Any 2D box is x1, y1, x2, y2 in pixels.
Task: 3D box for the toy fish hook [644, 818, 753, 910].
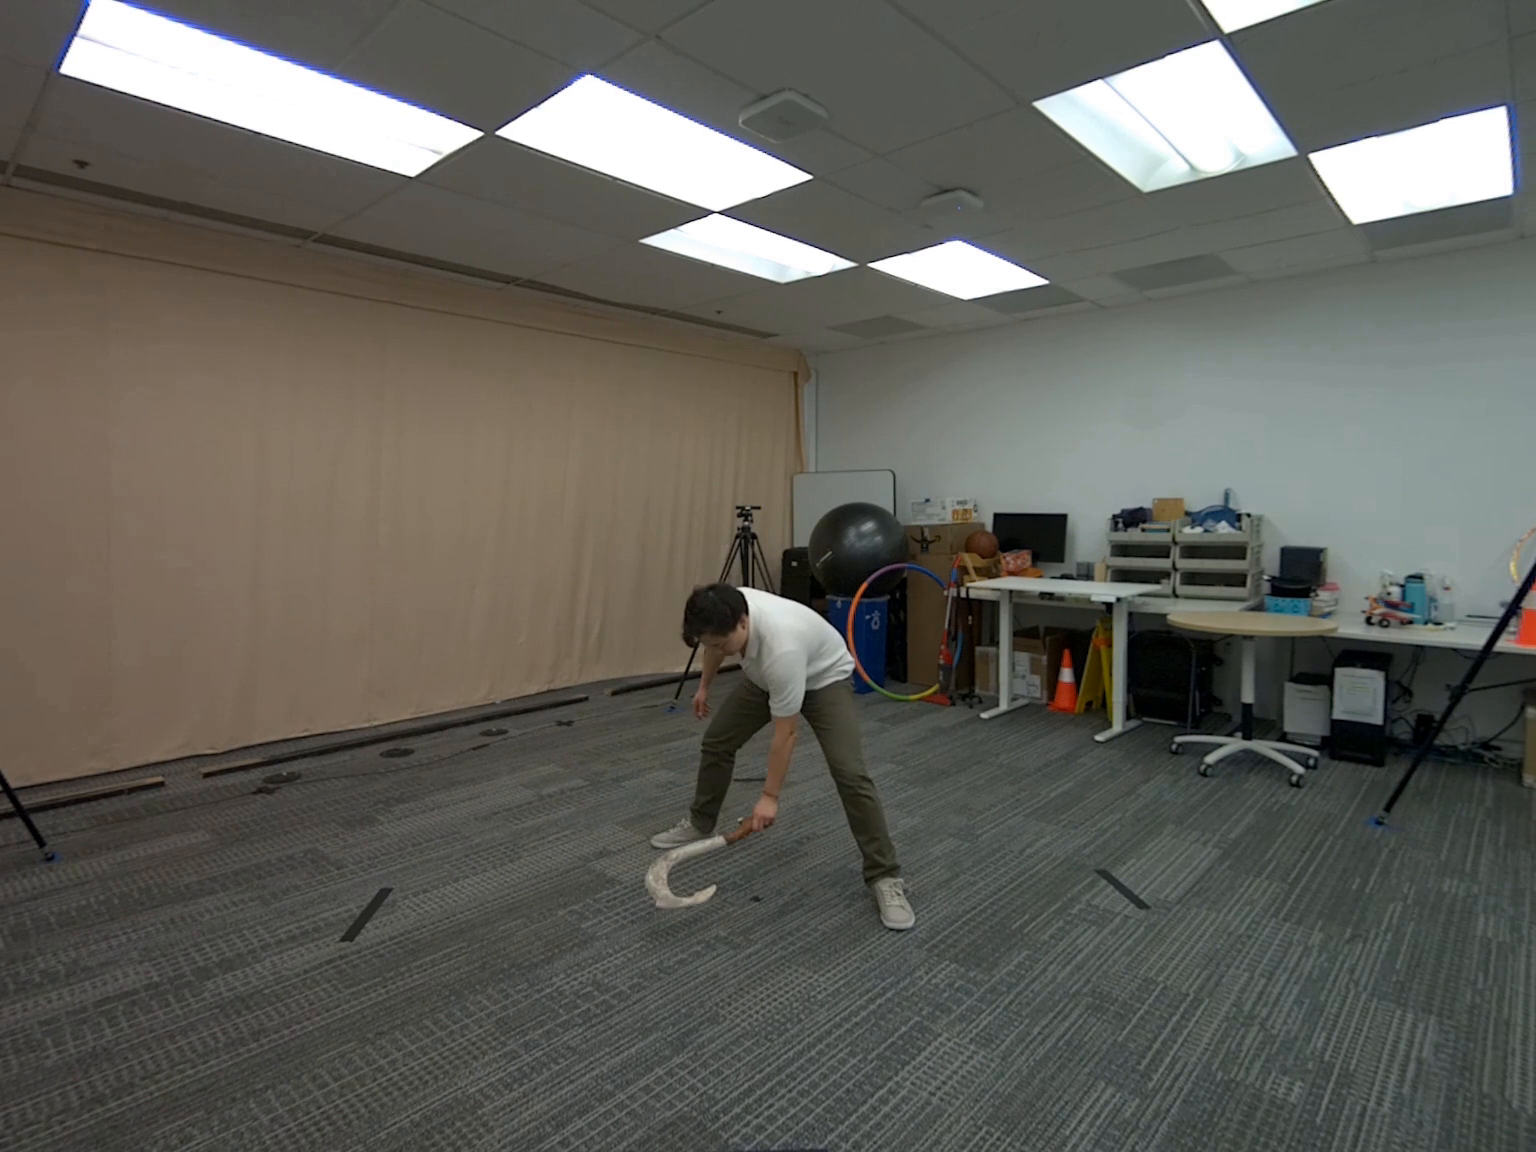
[{"bbox_3d":[-0.148,0.934,2.818,0.499,0.047,0.233,-24,43,-22],"label":"toy fish hook"}]
